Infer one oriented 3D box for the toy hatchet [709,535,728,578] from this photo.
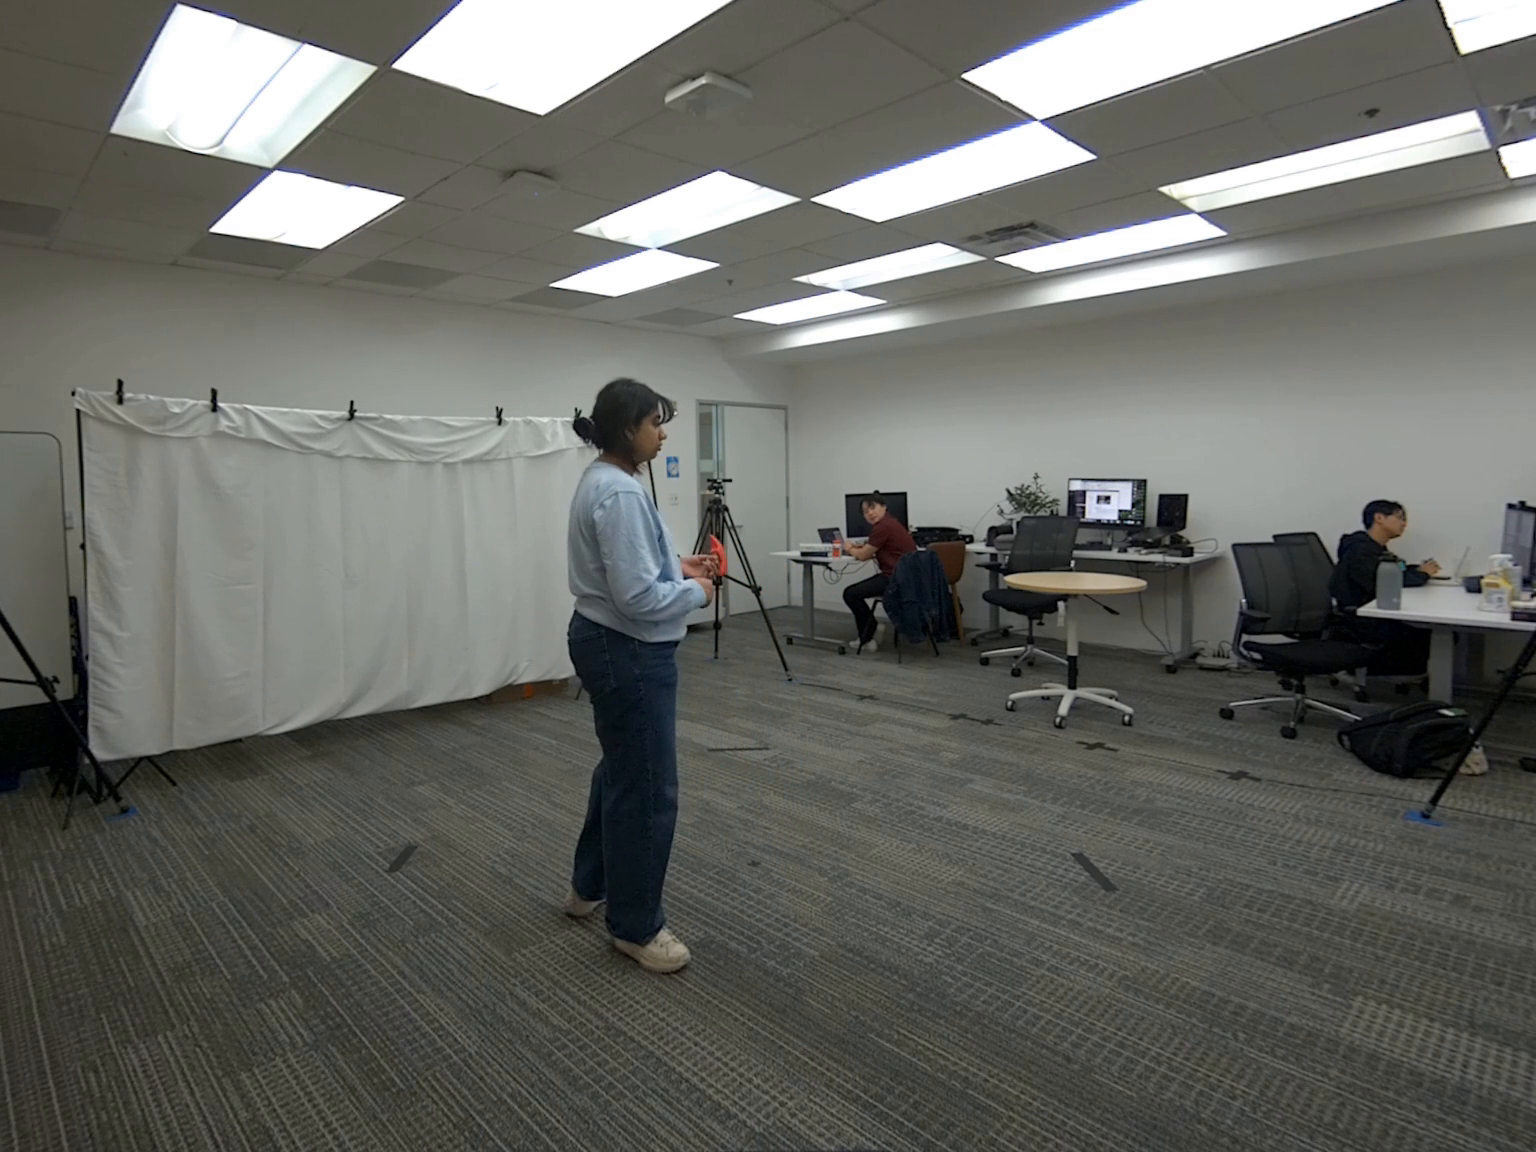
[{"bbox_3d":[-0.170,0.011,2.643,0.030,0.276,0.126,-11,-41,18],"label":"toy hatchet"}]
